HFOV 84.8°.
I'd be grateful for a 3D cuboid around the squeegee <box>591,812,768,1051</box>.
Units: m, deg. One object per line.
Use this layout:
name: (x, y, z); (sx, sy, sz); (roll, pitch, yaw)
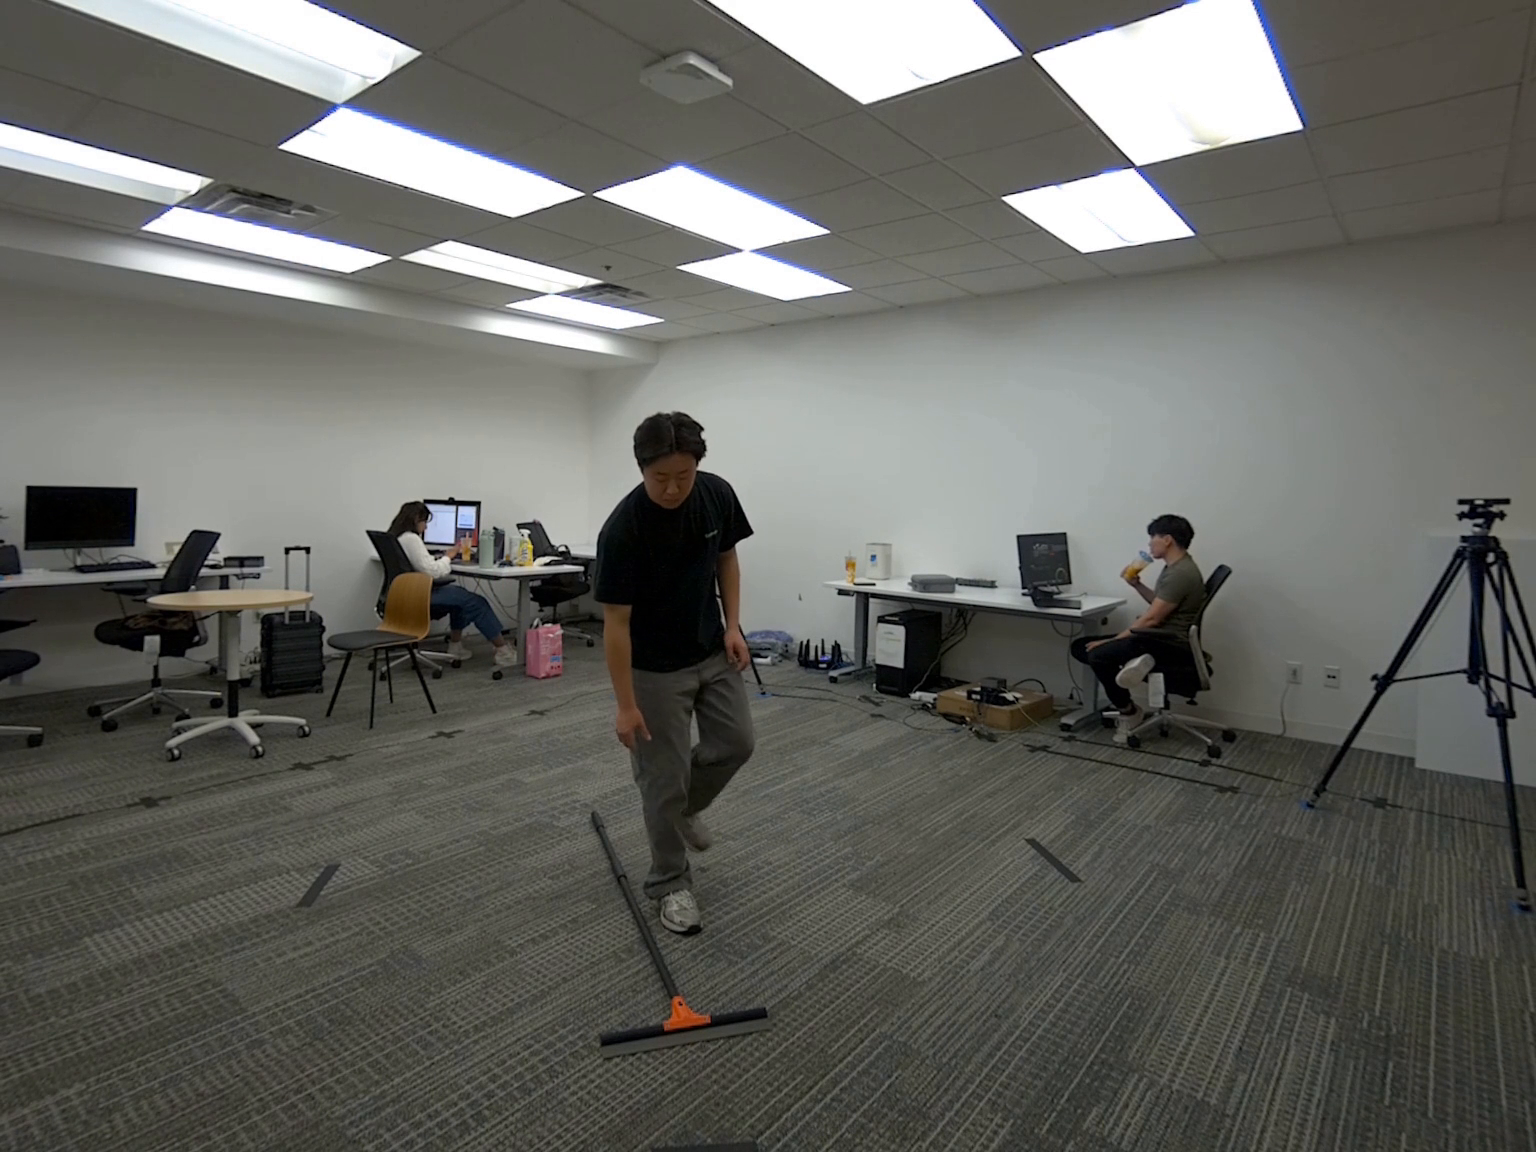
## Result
squeegee: (-0.473, 1.041, 2.862); (0.428, 0.053, 1.575); (0, 6, -21)
